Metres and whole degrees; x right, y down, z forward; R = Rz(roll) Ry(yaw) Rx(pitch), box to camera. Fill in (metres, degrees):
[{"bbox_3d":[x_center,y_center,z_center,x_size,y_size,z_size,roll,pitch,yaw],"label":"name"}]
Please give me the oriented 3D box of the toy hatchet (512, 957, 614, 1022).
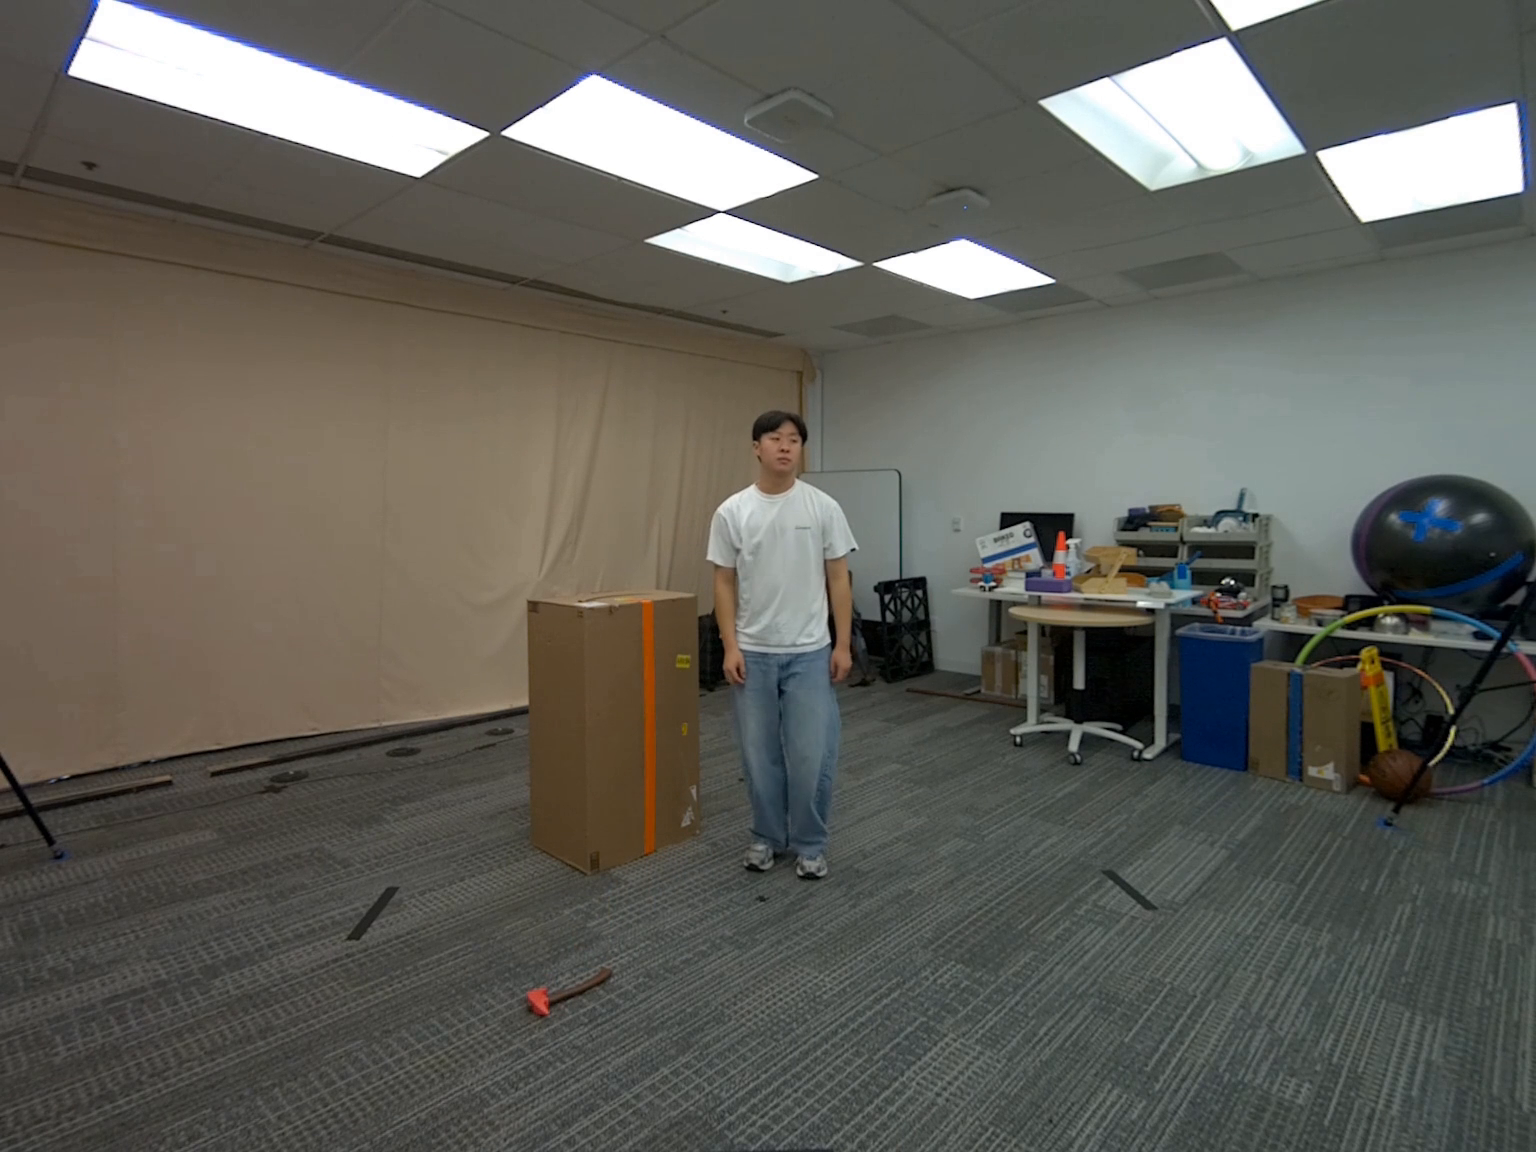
[{"bbox_3d":[-0.584,1.175,2.422,0.135,0.029,0.262,1,2,35],"label":"toy hatchet"}]
